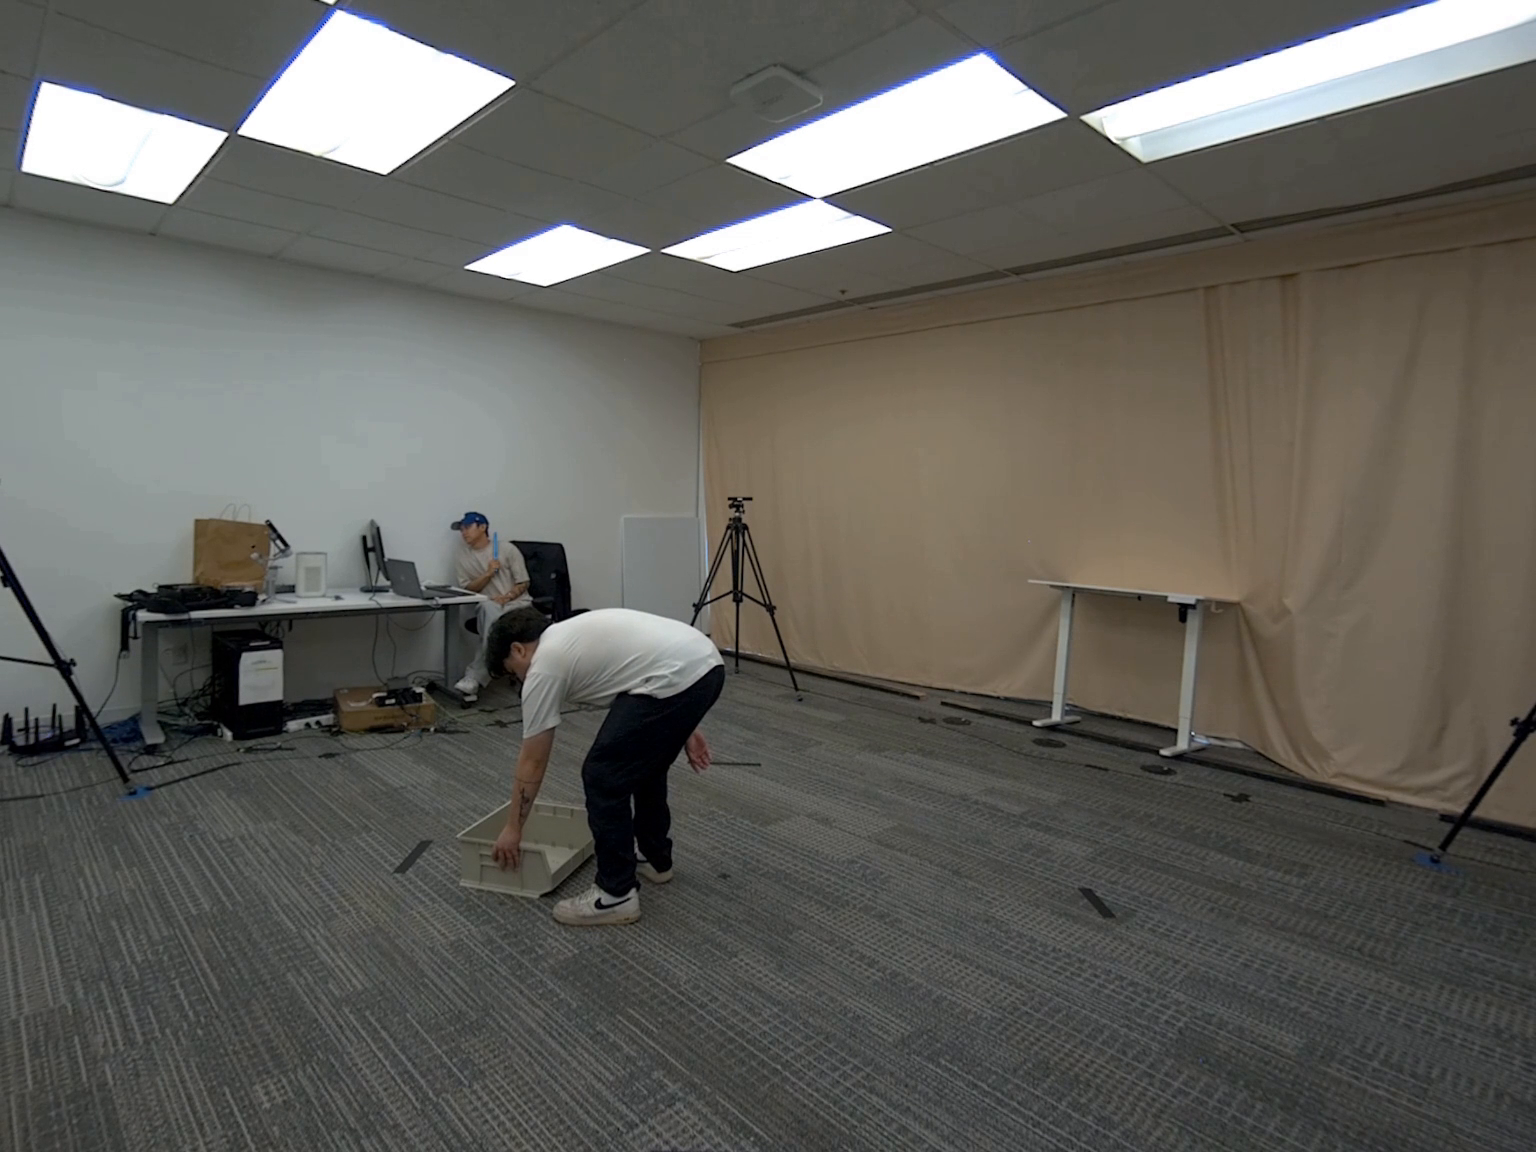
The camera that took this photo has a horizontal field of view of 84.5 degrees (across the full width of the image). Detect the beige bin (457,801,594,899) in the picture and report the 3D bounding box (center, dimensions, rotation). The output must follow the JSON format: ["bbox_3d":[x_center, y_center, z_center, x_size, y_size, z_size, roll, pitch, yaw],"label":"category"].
[{"bbox_3d":[-0.877,0.999,3.127,0.382,0.188,0.418,2,6,15],"label":"beige bin"}]
